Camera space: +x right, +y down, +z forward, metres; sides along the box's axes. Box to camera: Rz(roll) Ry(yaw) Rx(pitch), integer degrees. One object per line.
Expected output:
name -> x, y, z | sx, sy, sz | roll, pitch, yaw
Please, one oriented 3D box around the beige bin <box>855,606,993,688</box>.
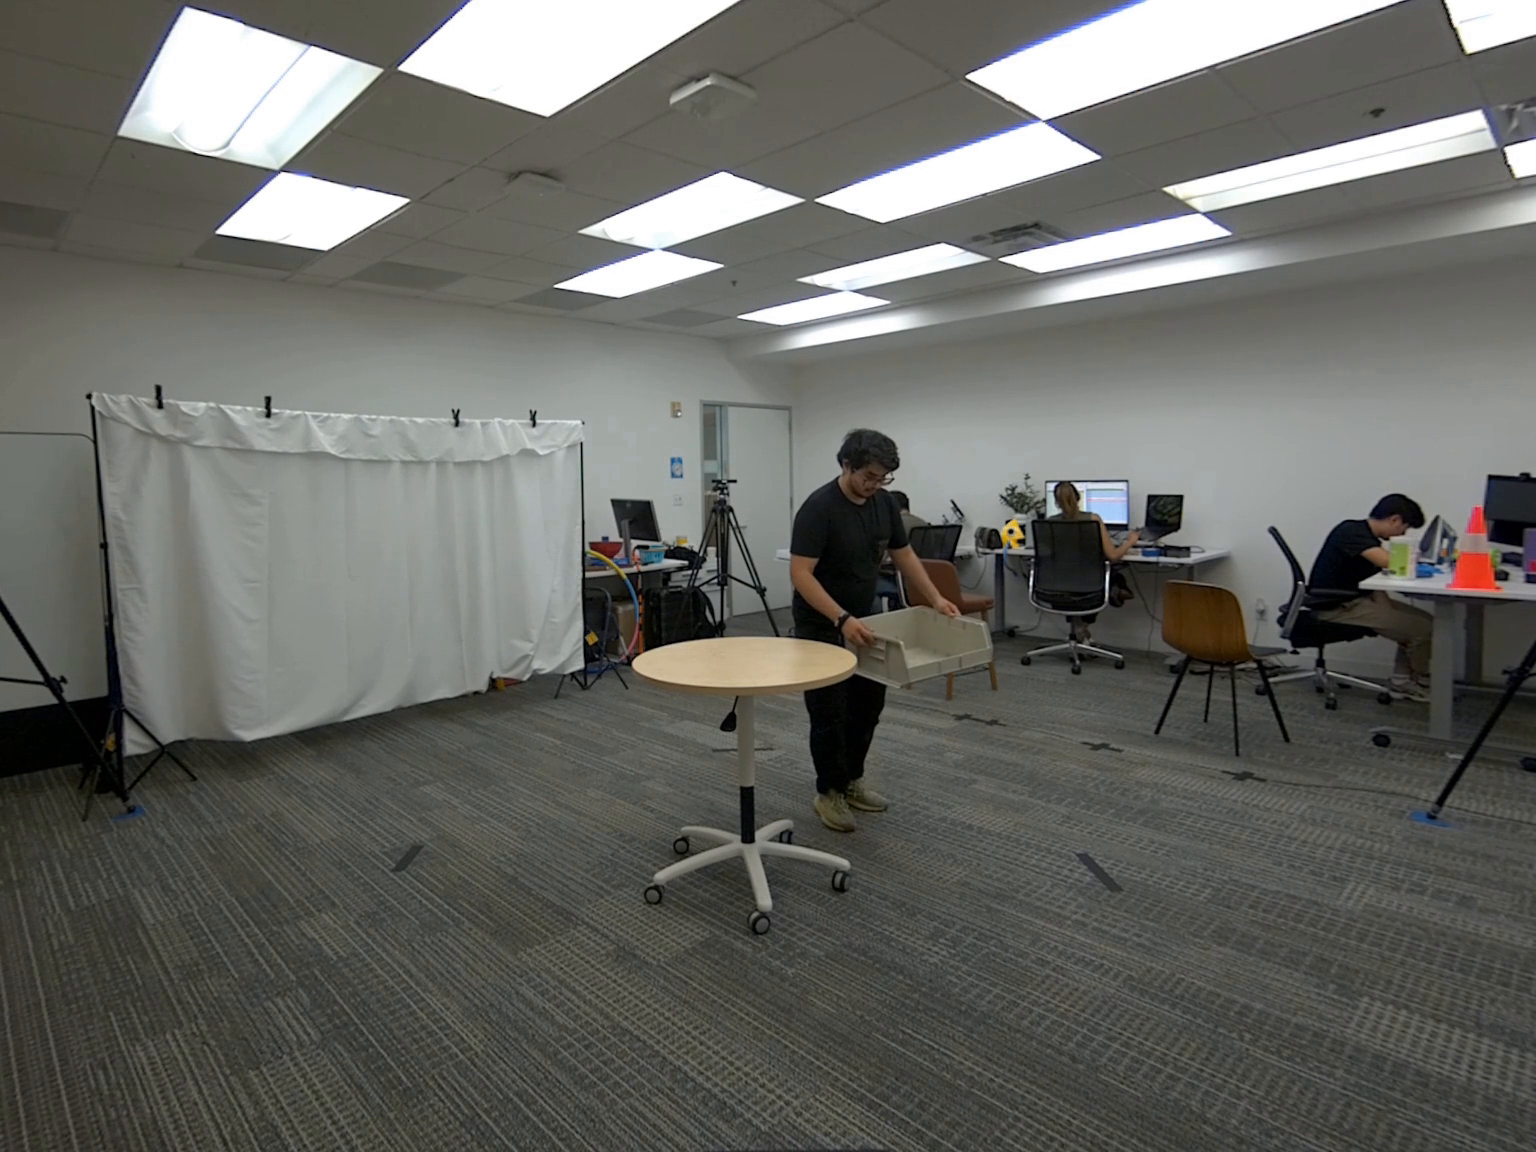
beige bin -> 0.548, 0.262, 3.204 | 0.413, 0.187, 0.388 | -10, 11, -31
